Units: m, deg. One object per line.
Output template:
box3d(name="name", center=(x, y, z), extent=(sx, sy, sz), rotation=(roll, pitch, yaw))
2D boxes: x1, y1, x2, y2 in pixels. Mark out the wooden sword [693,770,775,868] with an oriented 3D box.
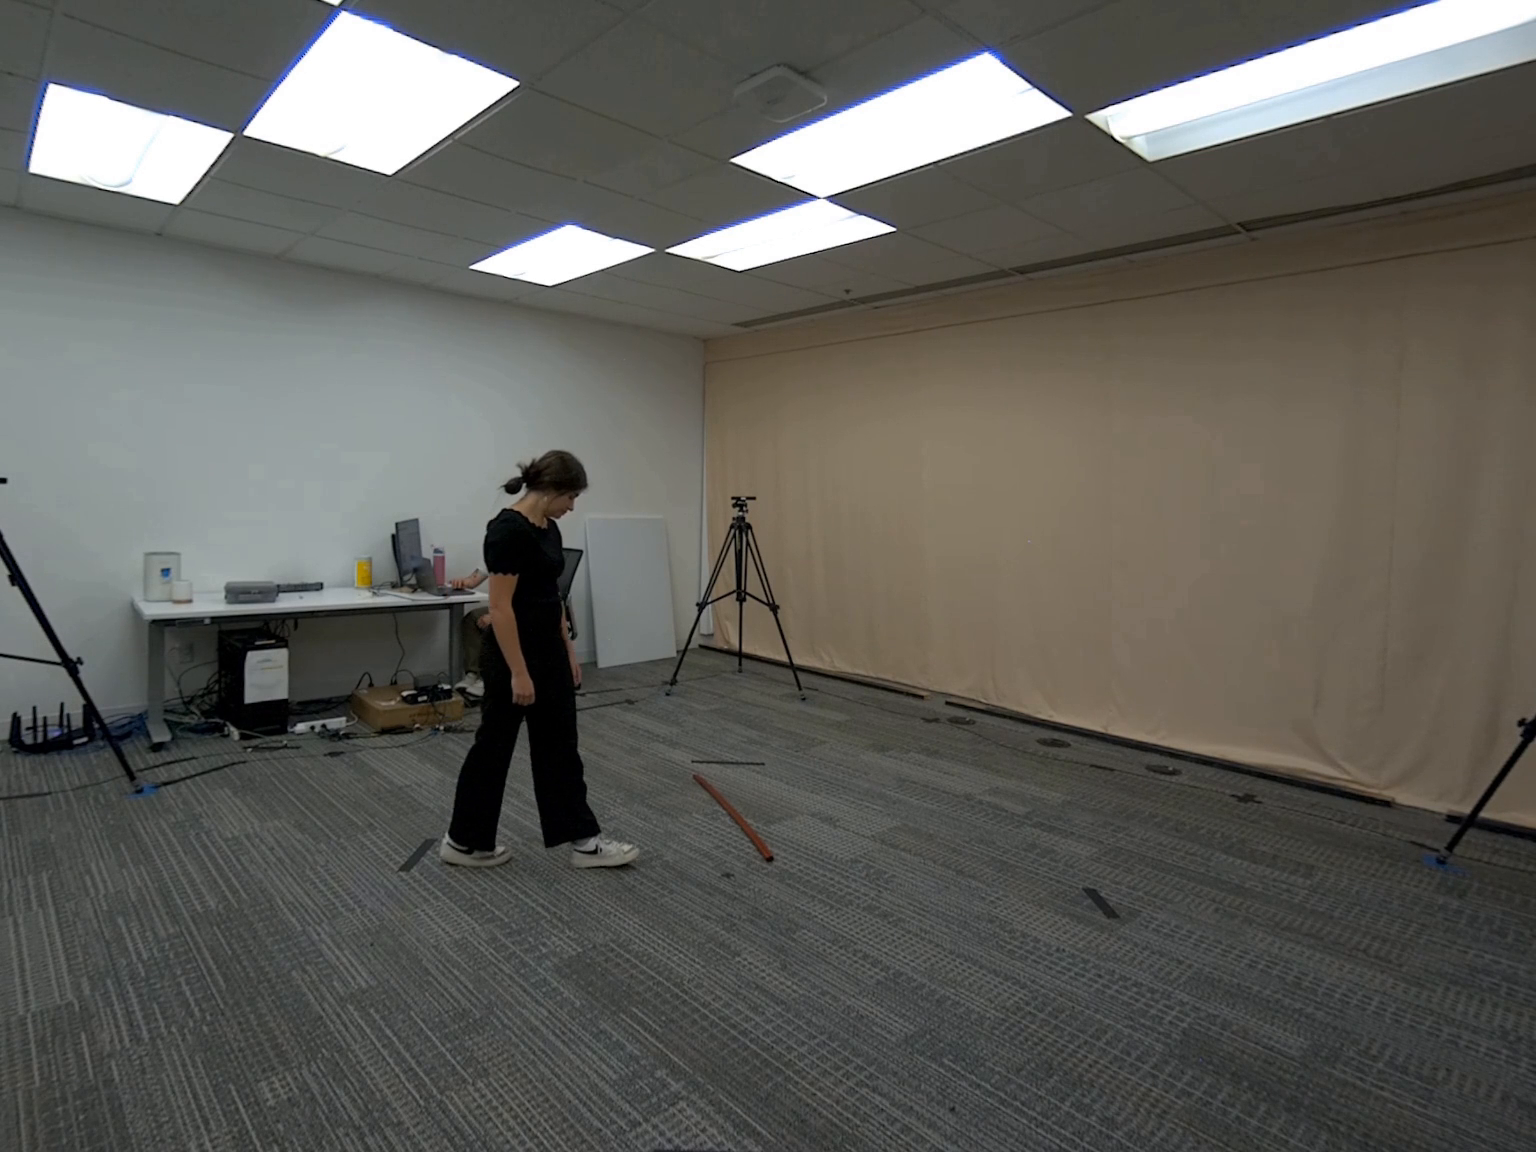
box3d(name="wooden sword", center=(-0.175, 1.039, 3.720), extent=(0.024, 0.051, 1.043), rotation=(-26, 13, -16))
